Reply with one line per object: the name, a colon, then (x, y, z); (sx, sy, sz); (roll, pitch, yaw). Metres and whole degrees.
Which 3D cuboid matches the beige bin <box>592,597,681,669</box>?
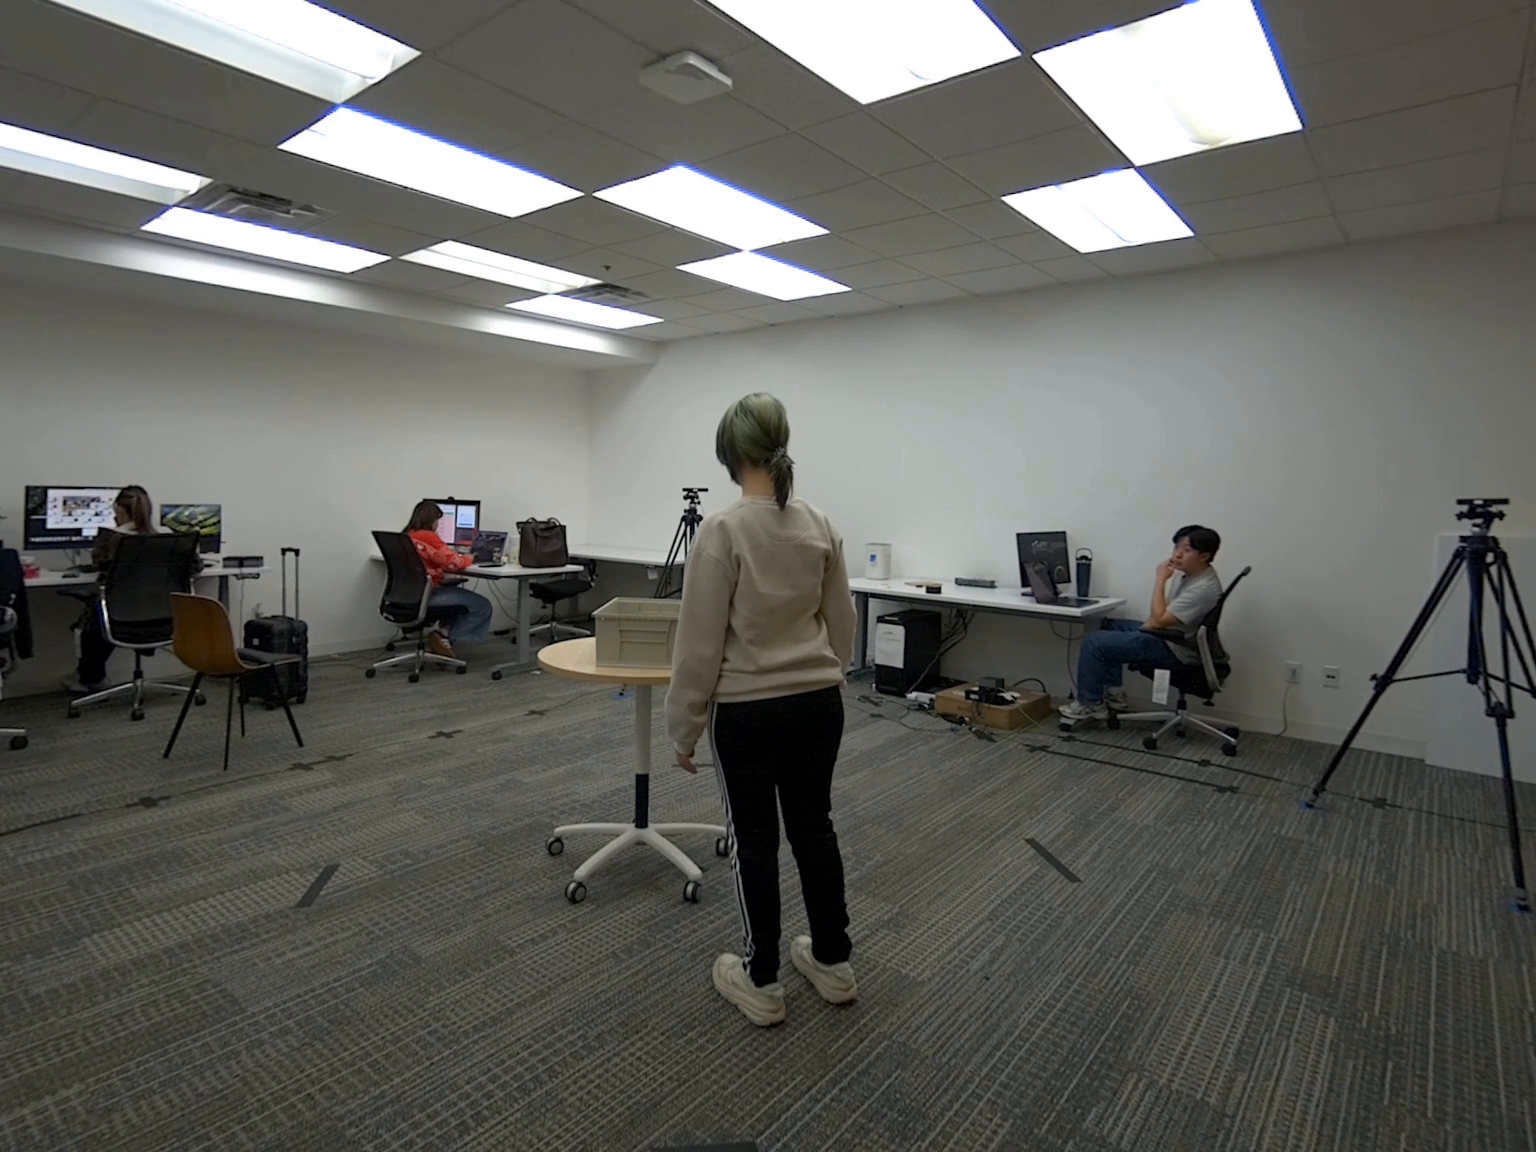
beige bin: (-0.411, 0.194, 3.054); (0.378, 0.188, 0.423); (-1, 6, 1)
